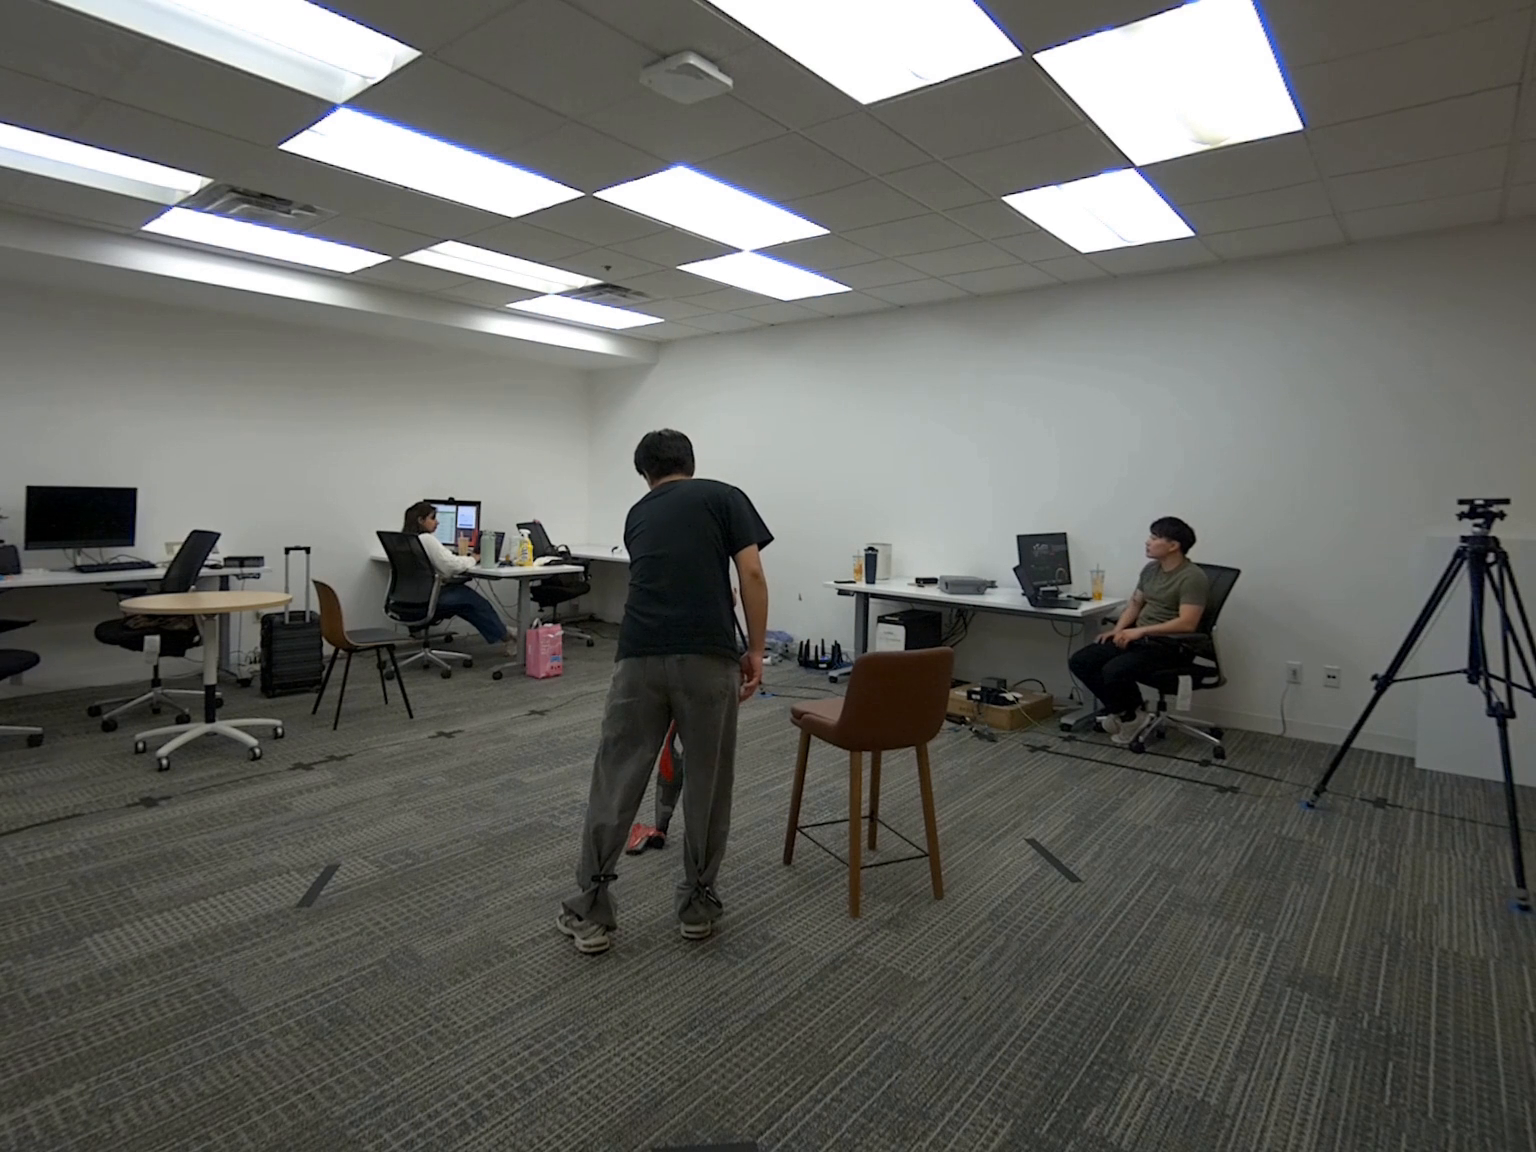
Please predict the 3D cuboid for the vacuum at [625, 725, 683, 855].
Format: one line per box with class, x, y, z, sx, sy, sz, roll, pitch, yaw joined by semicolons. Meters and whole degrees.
vacuum;-0.318;0.551;3.337;0.144;1.049;0.252;18;0;0
